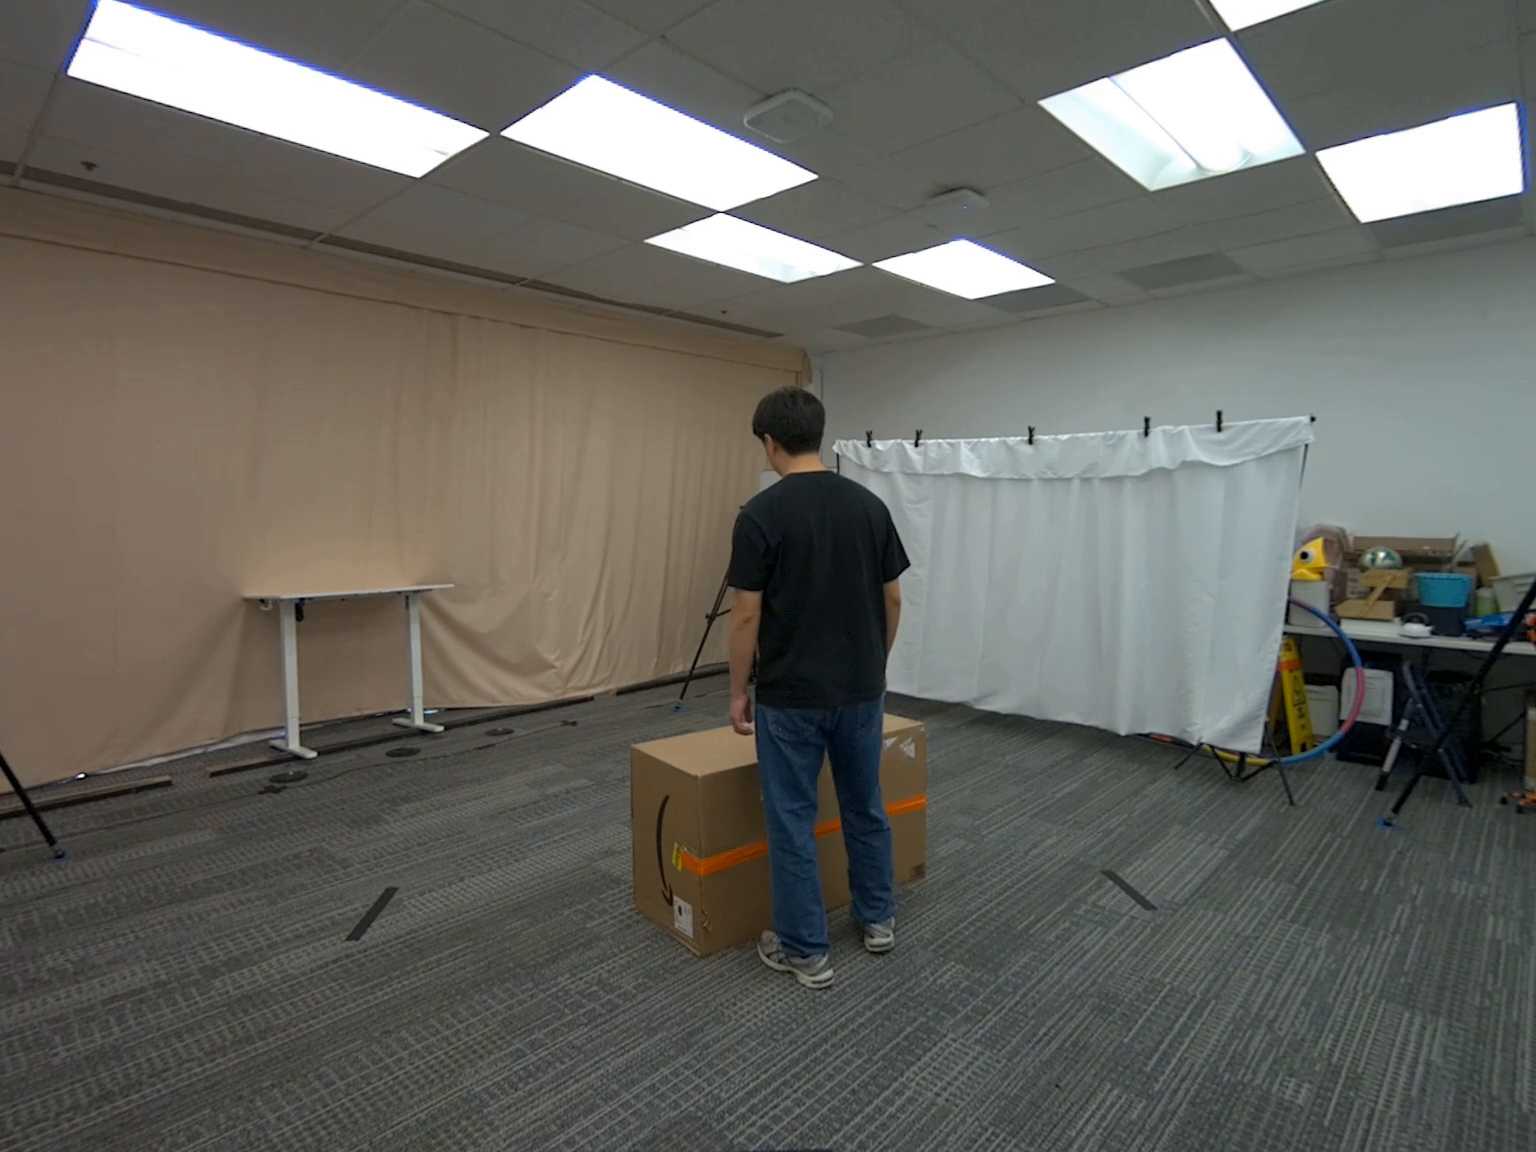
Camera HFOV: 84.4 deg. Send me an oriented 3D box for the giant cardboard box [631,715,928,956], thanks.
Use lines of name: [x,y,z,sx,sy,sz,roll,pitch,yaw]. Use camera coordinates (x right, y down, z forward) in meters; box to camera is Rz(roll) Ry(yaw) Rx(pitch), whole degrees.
giant cardboard box: [0.062,0.854,3.035,0.997,0.582,0.461,-4,6,-36]
